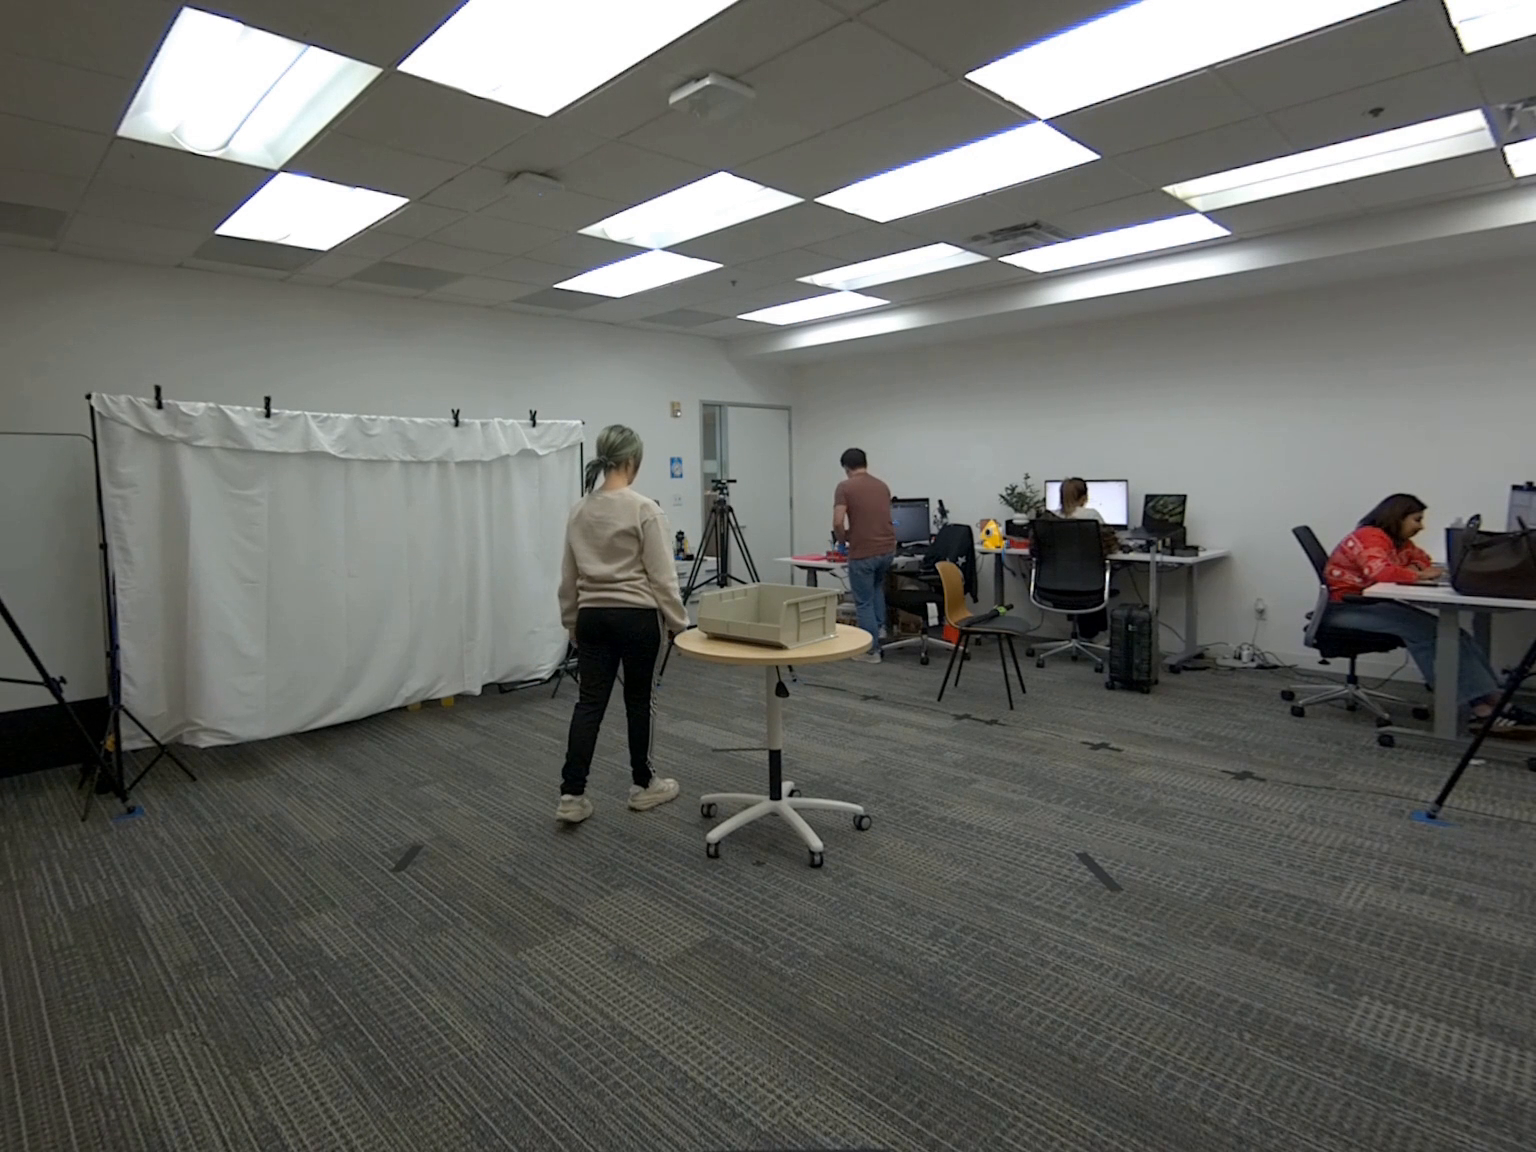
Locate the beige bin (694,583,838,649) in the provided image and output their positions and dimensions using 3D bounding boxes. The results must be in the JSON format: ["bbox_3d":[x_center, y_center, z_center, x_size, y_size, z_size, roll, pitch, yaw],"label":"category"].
[{"bbox_3d":[-0.001,0.151,3.297,0.435,0.188,0.367,4,7,41],"label":"beige bin"}]
